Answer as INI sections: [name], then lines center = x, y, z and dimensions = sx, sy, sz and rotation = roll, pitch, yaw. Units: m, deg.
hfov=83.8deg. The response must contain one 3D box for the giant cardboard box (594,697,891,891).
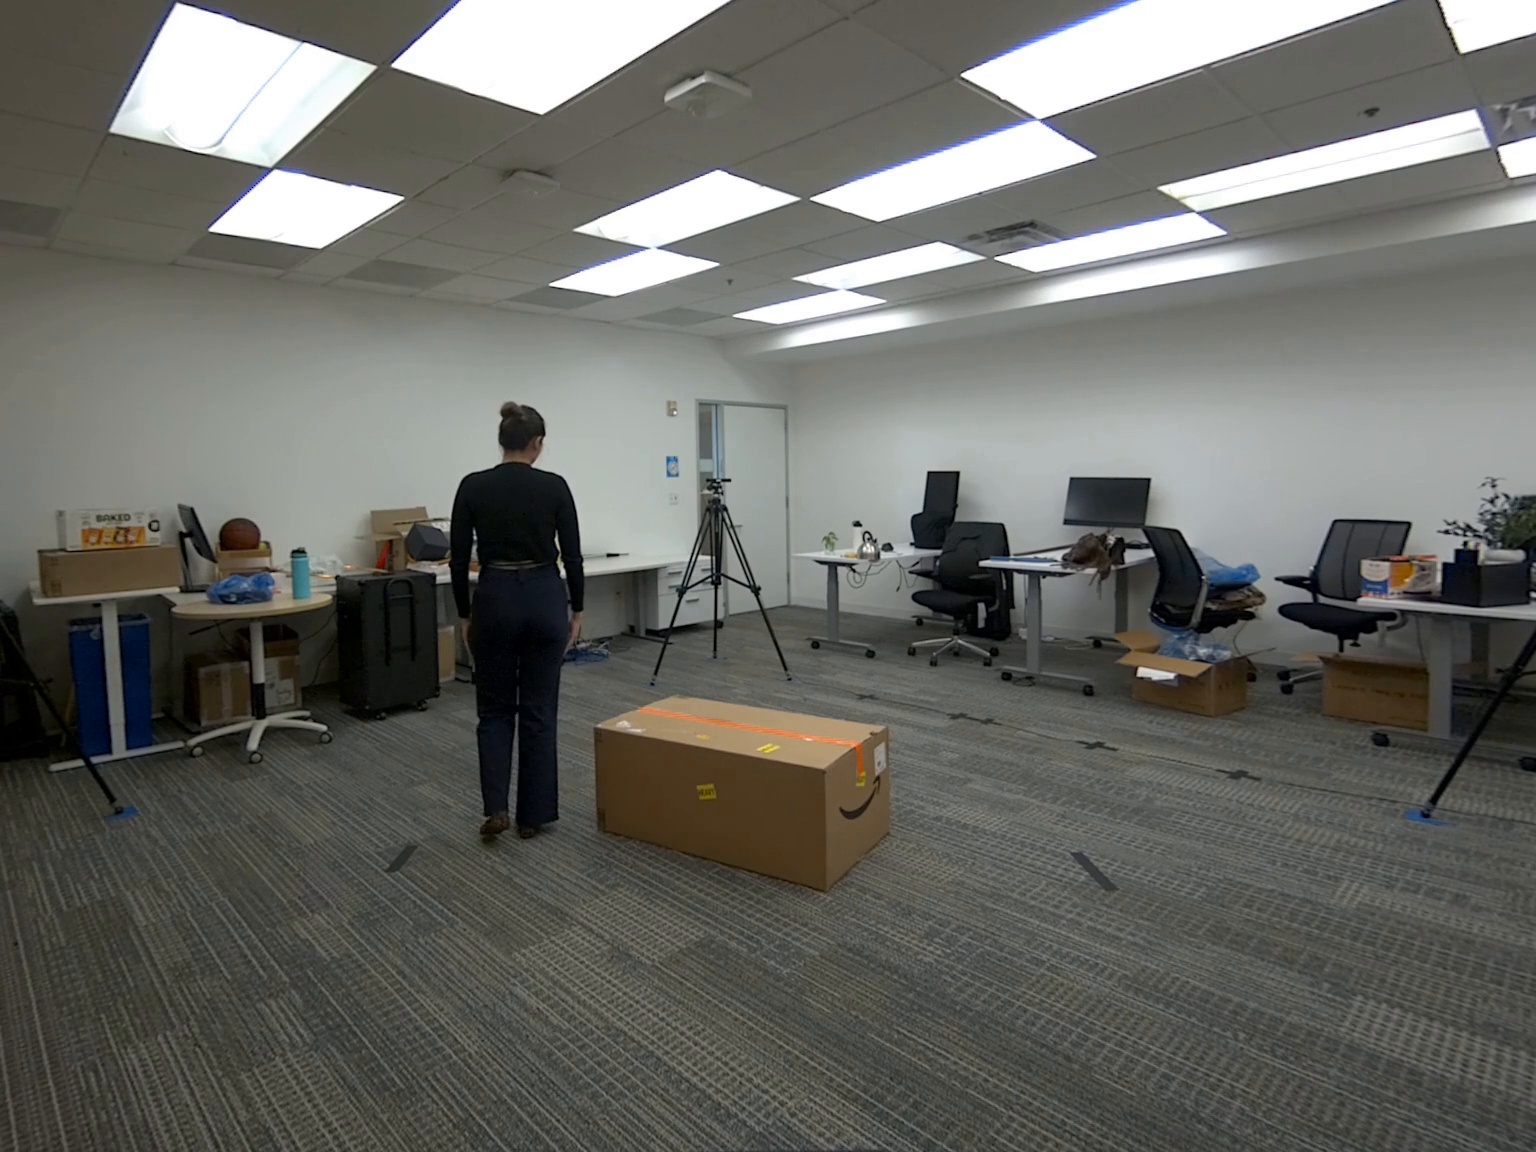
[giant cardboard box]
center = -0.107, 0.802, 3.378
dimensions = 1.054, 0.425, 0.564
rotation = 3, 5, 32
